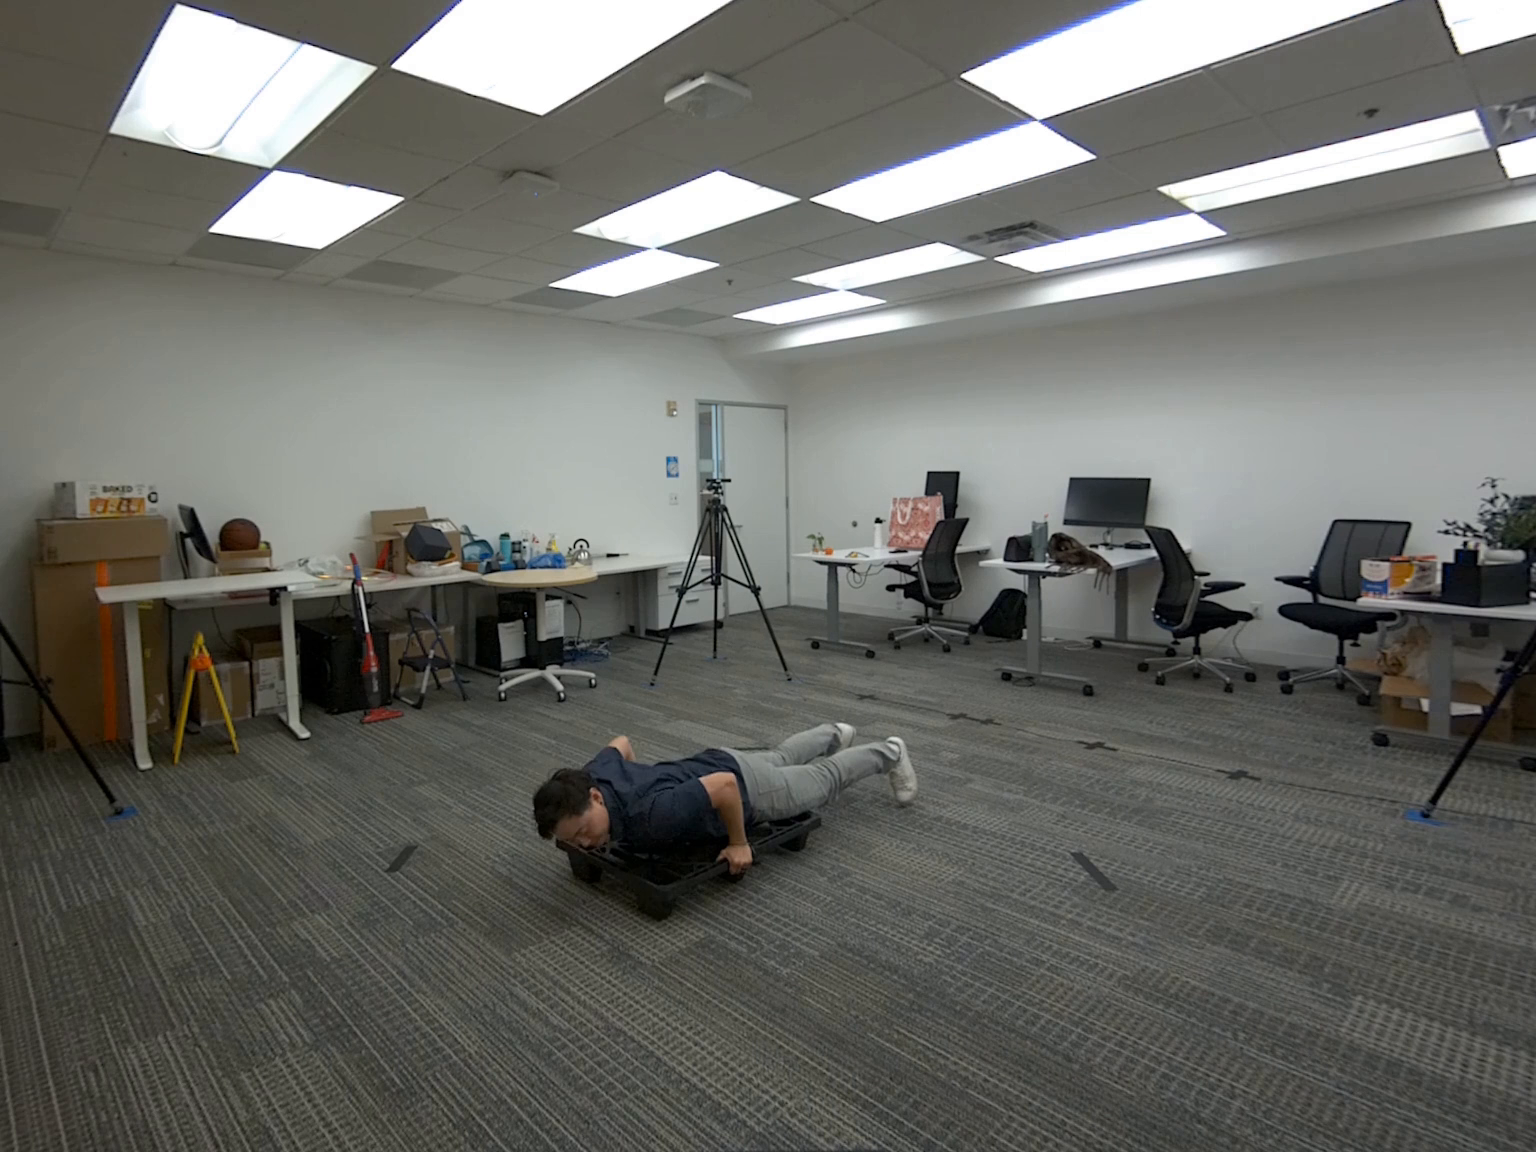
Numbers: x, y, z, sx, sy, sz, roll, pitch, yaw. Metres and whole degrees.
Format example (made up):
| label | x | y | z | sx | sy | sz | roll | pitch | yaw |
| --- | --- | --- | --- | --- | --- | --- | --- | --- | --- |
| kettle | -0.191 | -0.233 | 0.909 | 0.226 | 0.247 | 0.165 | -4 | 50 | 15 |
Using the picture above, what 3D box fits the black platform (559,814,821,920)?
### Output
| label | x | y | z | sx | sy | sz | roll | pitch | yaw |
| --- | --- | --- | --- | --- | --- | --- | --- | --- | --- |
| black platform | -0.281 | 0.985 | 3.133 | 0.624 | 0.142 | 0.785 | 6 | 9 | 42 |
